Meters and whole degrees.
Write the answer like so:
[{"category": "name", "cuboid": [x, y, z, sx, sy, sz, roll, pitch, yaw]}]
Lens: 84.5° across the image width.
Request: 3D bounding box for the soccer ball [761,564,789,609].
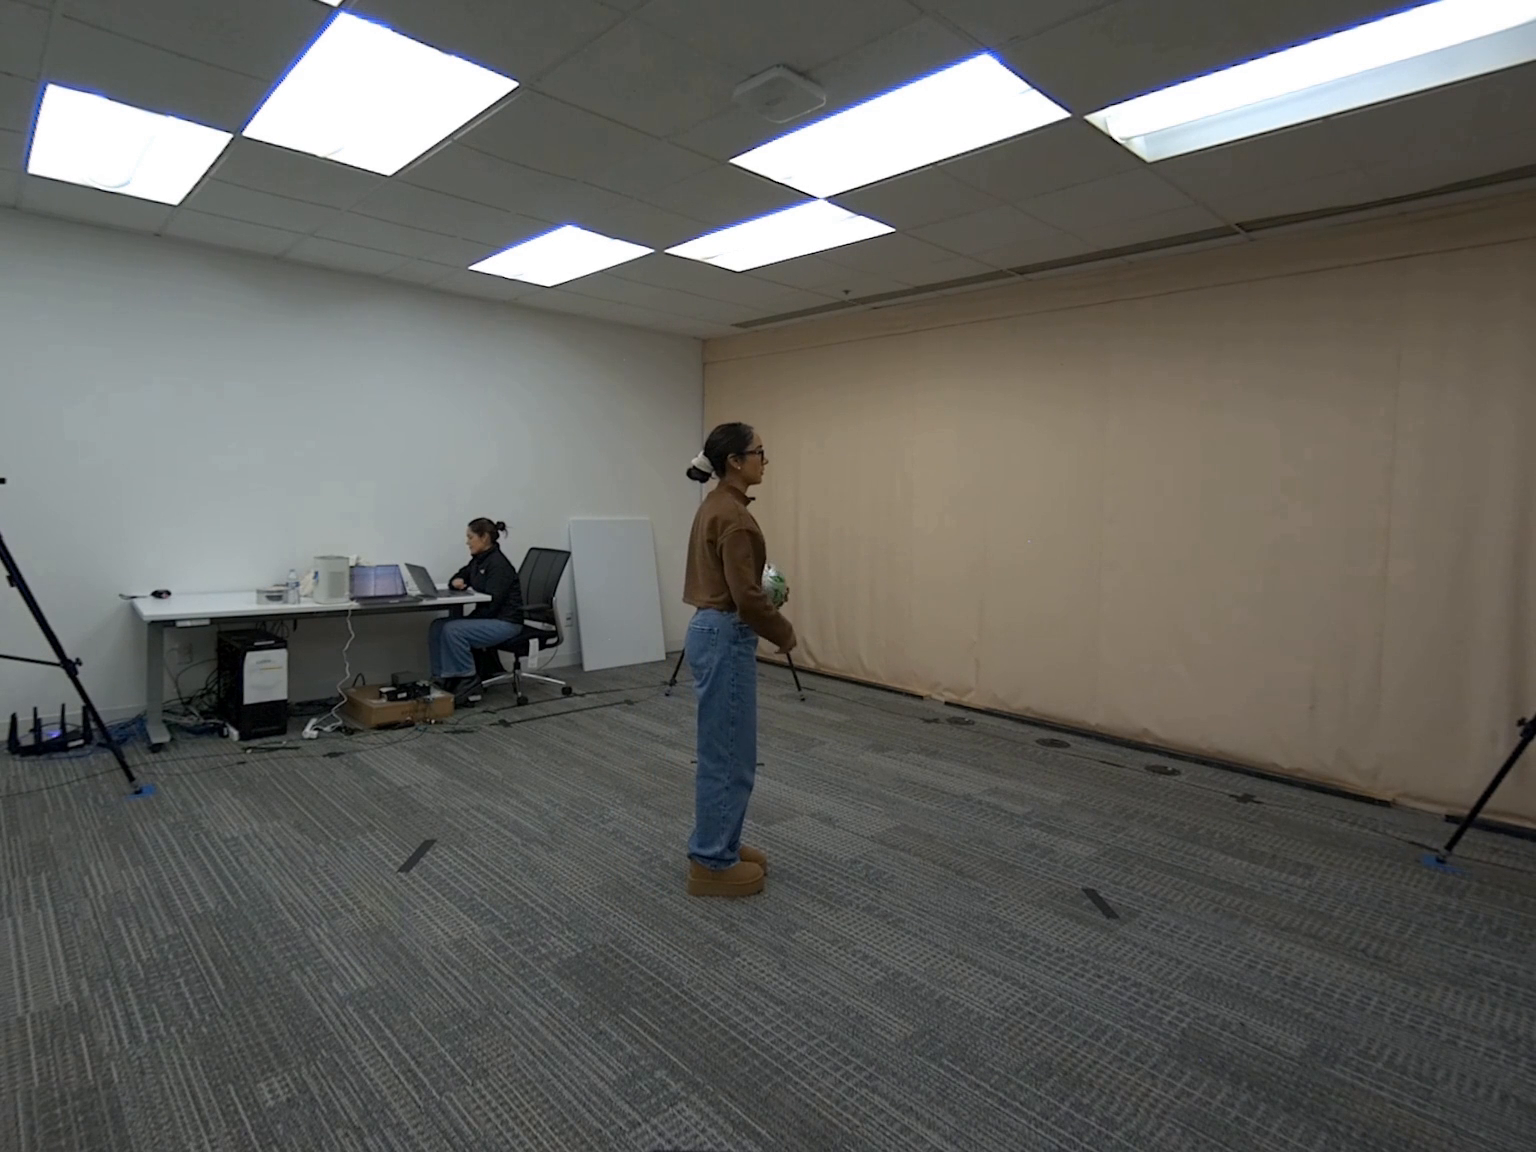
[{"category": "soccer ball", "cuboid": [-0.028, 0.041, 3.189, 0.187, 0.187, 0.188, 1, 4, -1]}]
